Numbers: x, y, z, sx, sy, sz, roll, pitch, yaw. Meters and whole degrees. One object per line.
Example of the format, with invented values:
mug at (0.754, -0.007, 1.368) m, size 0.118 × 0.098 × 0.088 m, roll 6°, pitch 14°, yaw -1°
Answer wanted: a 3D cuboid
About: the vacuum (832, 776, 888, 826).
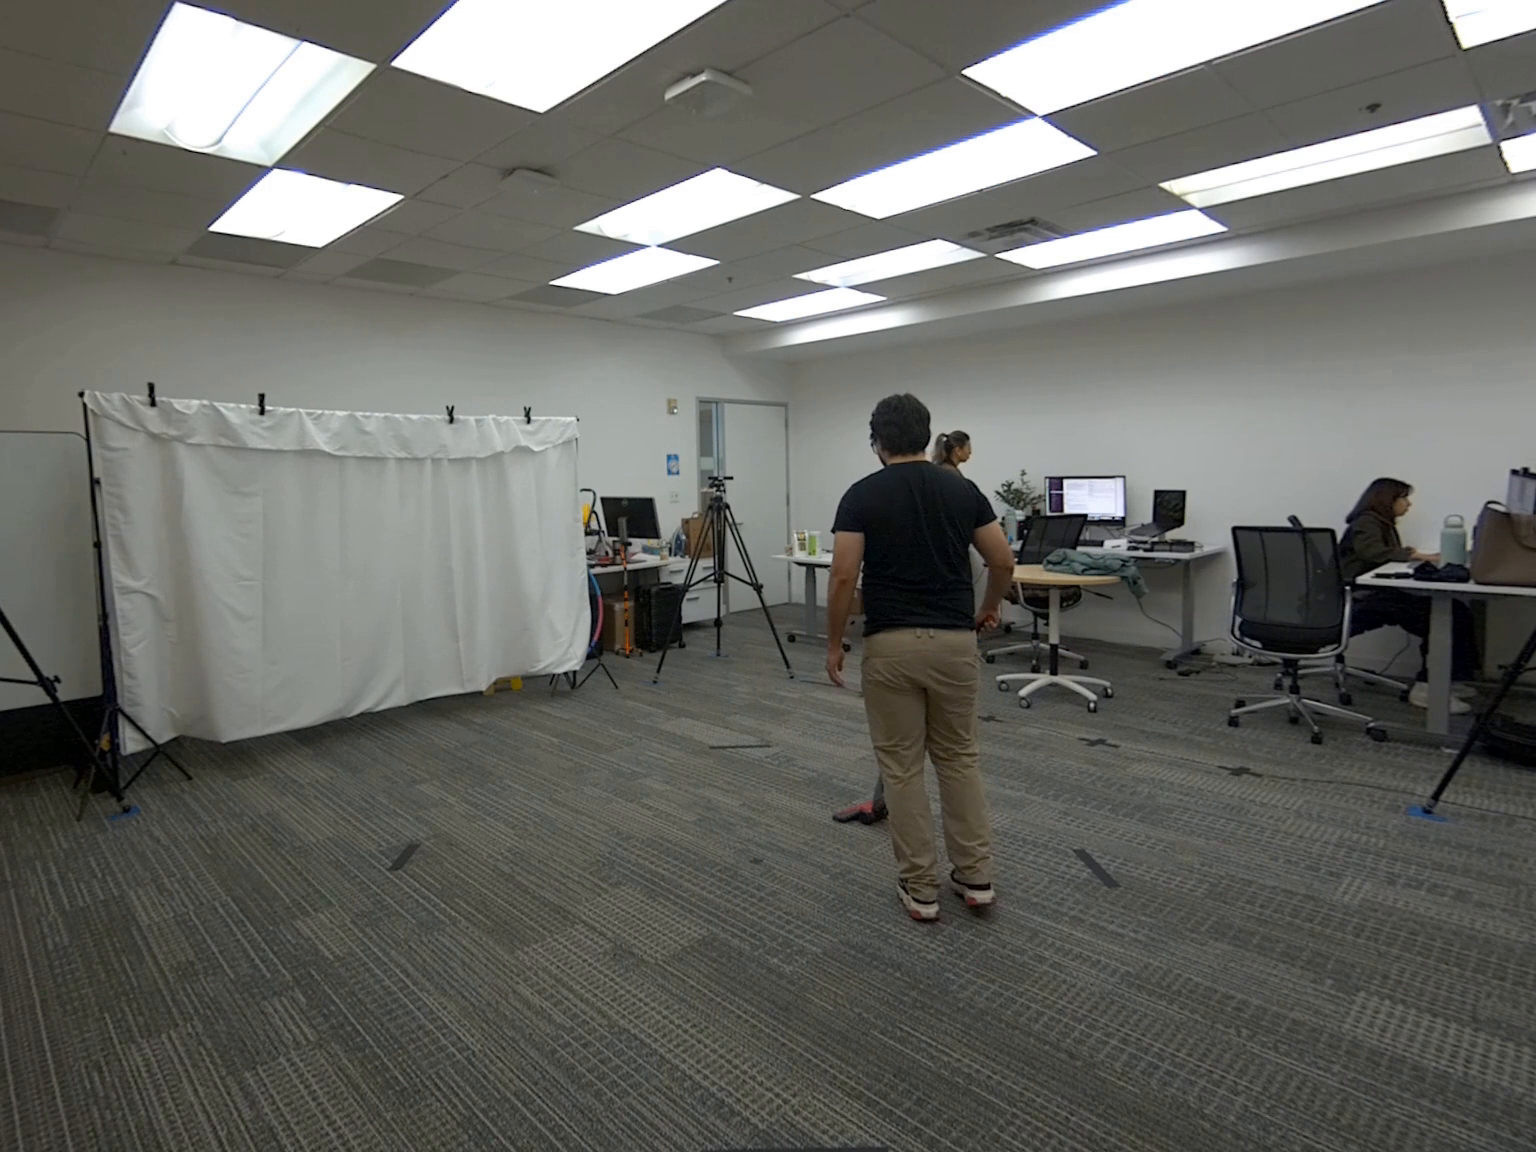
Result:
vacuum at (0.587, 0.572, 3.233) m, size 0.246 × 1.037 × 0.149 m, roll -6°, pitch 42°, yaw -40°
